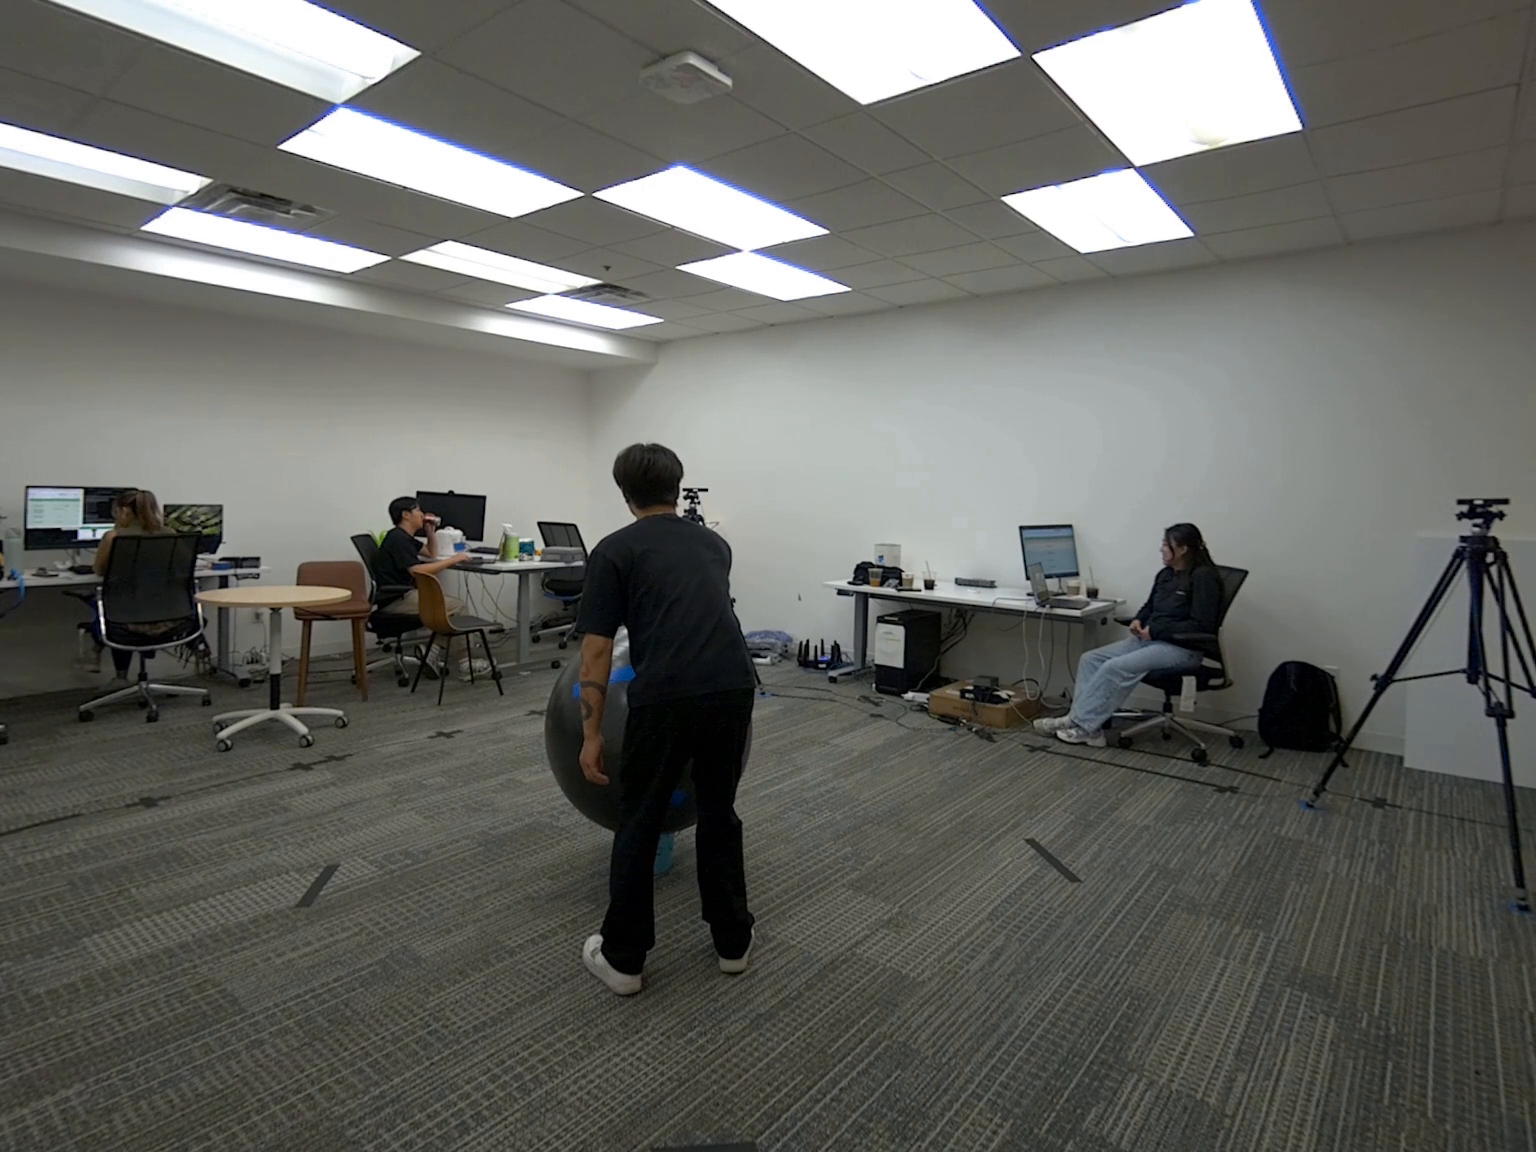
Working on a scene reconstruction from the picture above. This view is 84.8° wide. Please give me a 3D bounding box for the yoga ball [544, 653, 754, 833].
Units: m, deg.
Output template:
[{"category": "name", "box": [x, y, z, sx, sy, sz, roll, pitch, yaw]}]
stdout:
[{"category": "yoga ball", "box": [-0.449, 0.555, 3.134, 0.757, 0.756, 0.762, 1, 4, -2]}]
